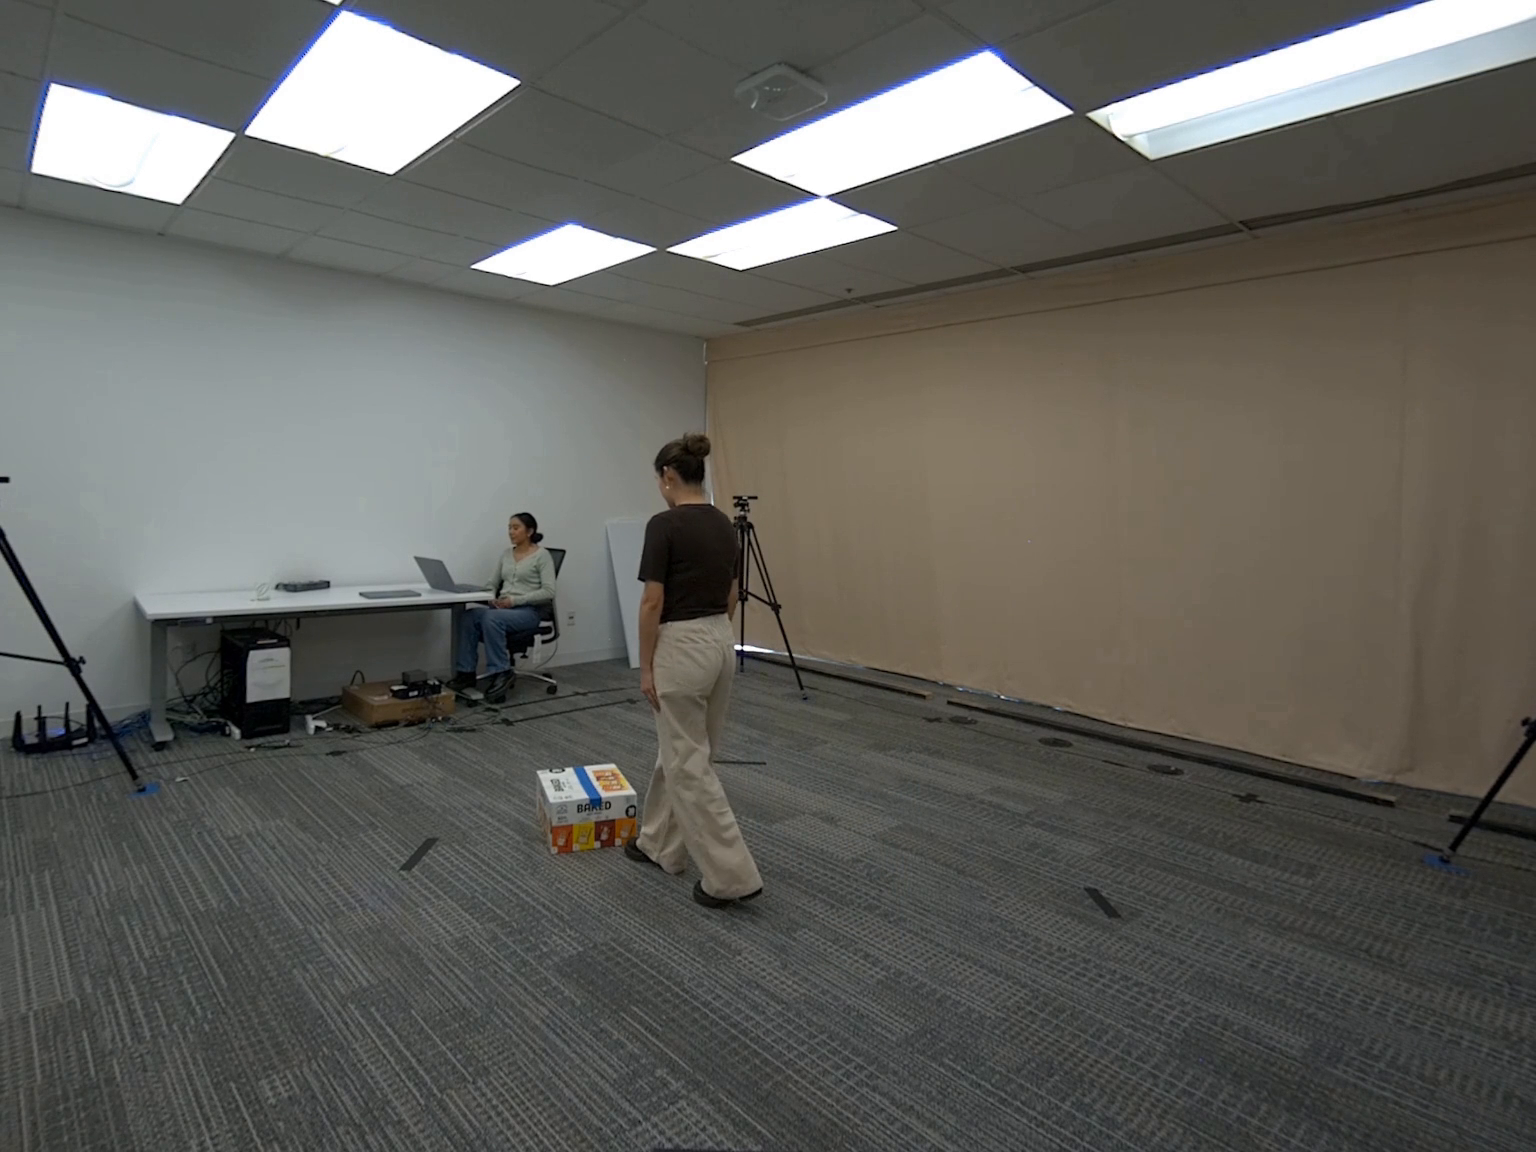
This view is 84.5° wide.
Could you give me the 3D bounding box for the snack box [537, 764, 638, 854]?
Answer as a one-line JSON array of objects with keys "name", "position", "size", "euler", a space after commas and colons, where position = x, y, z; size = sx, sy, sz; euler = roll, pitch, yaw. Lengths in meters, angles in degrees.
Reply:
[{"name": "snack box", "position": [-0.771, 0.954, 3.485], "size": [0.335, 0.205, 0.413], "euler": [0, 5, -22]}]
